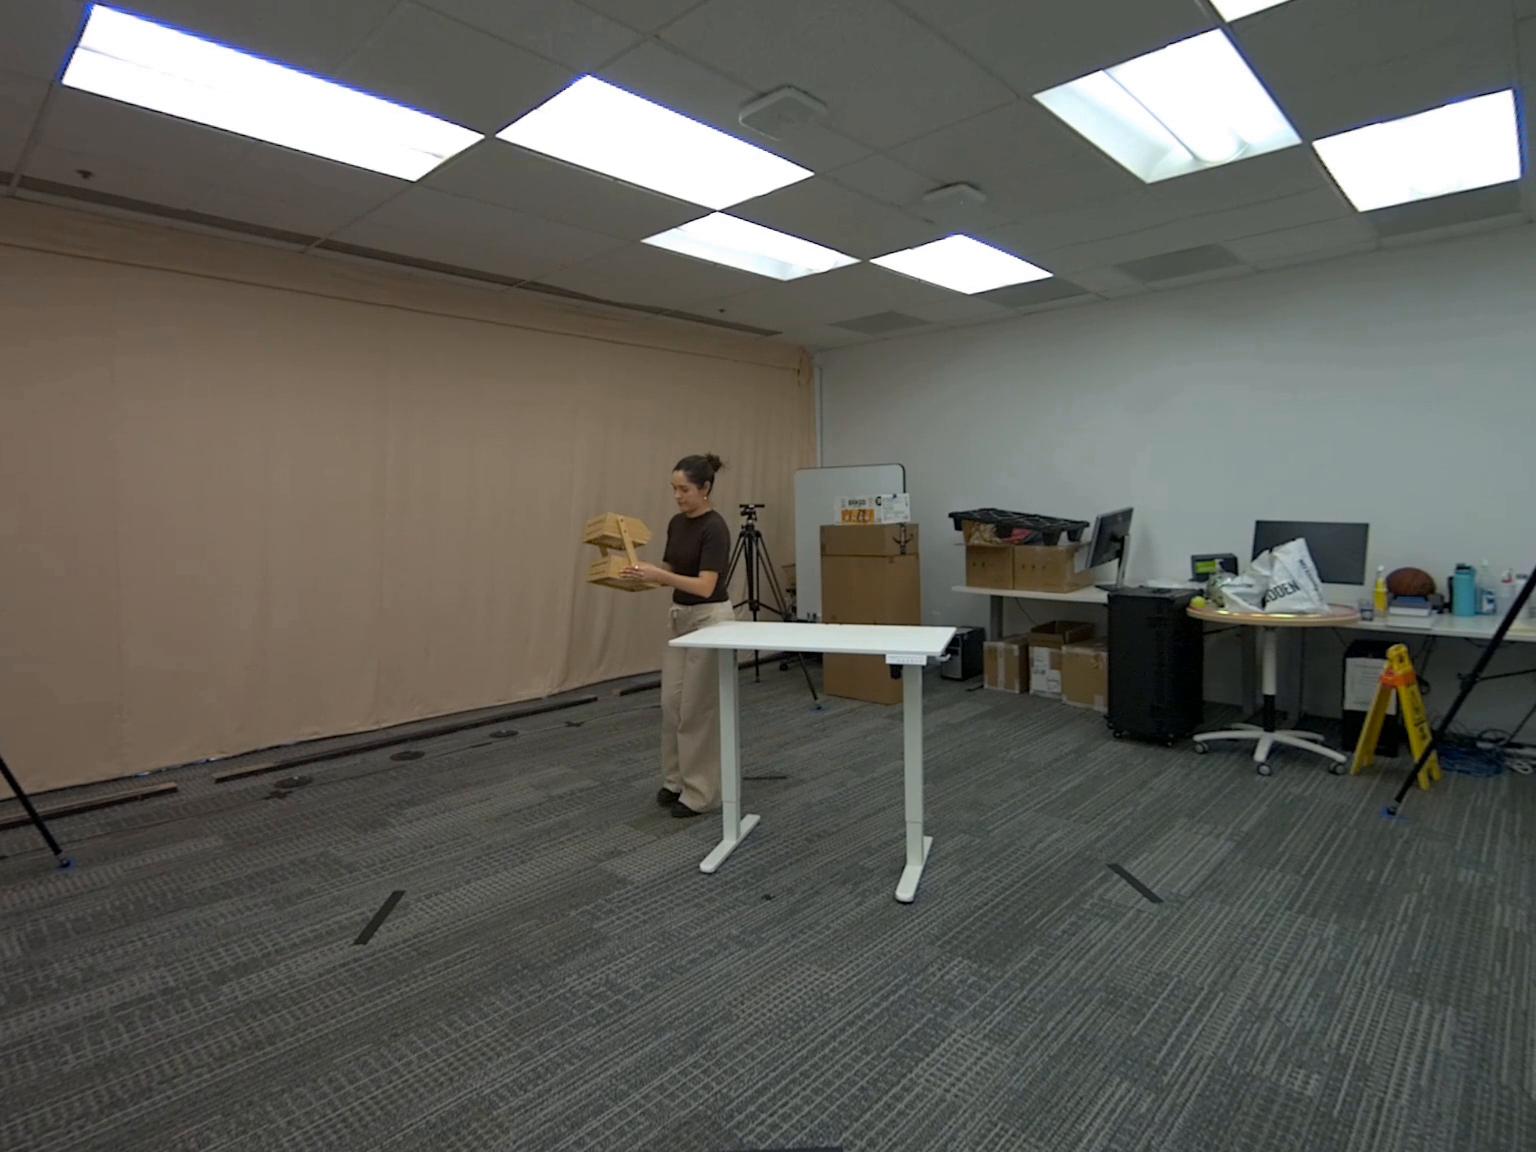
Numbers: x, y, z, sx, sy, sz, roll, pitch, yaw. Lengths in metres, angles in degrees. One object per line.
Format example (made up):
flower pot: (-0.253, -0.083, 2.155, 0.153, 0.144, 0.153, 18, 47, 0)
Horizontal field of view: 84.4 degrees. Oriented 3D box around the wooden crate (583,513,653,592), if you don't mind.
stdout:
wooden crate: (-0.620, -0.095, 3.623, 0.293, 0.275, 0.332, 13, -12, -27)
